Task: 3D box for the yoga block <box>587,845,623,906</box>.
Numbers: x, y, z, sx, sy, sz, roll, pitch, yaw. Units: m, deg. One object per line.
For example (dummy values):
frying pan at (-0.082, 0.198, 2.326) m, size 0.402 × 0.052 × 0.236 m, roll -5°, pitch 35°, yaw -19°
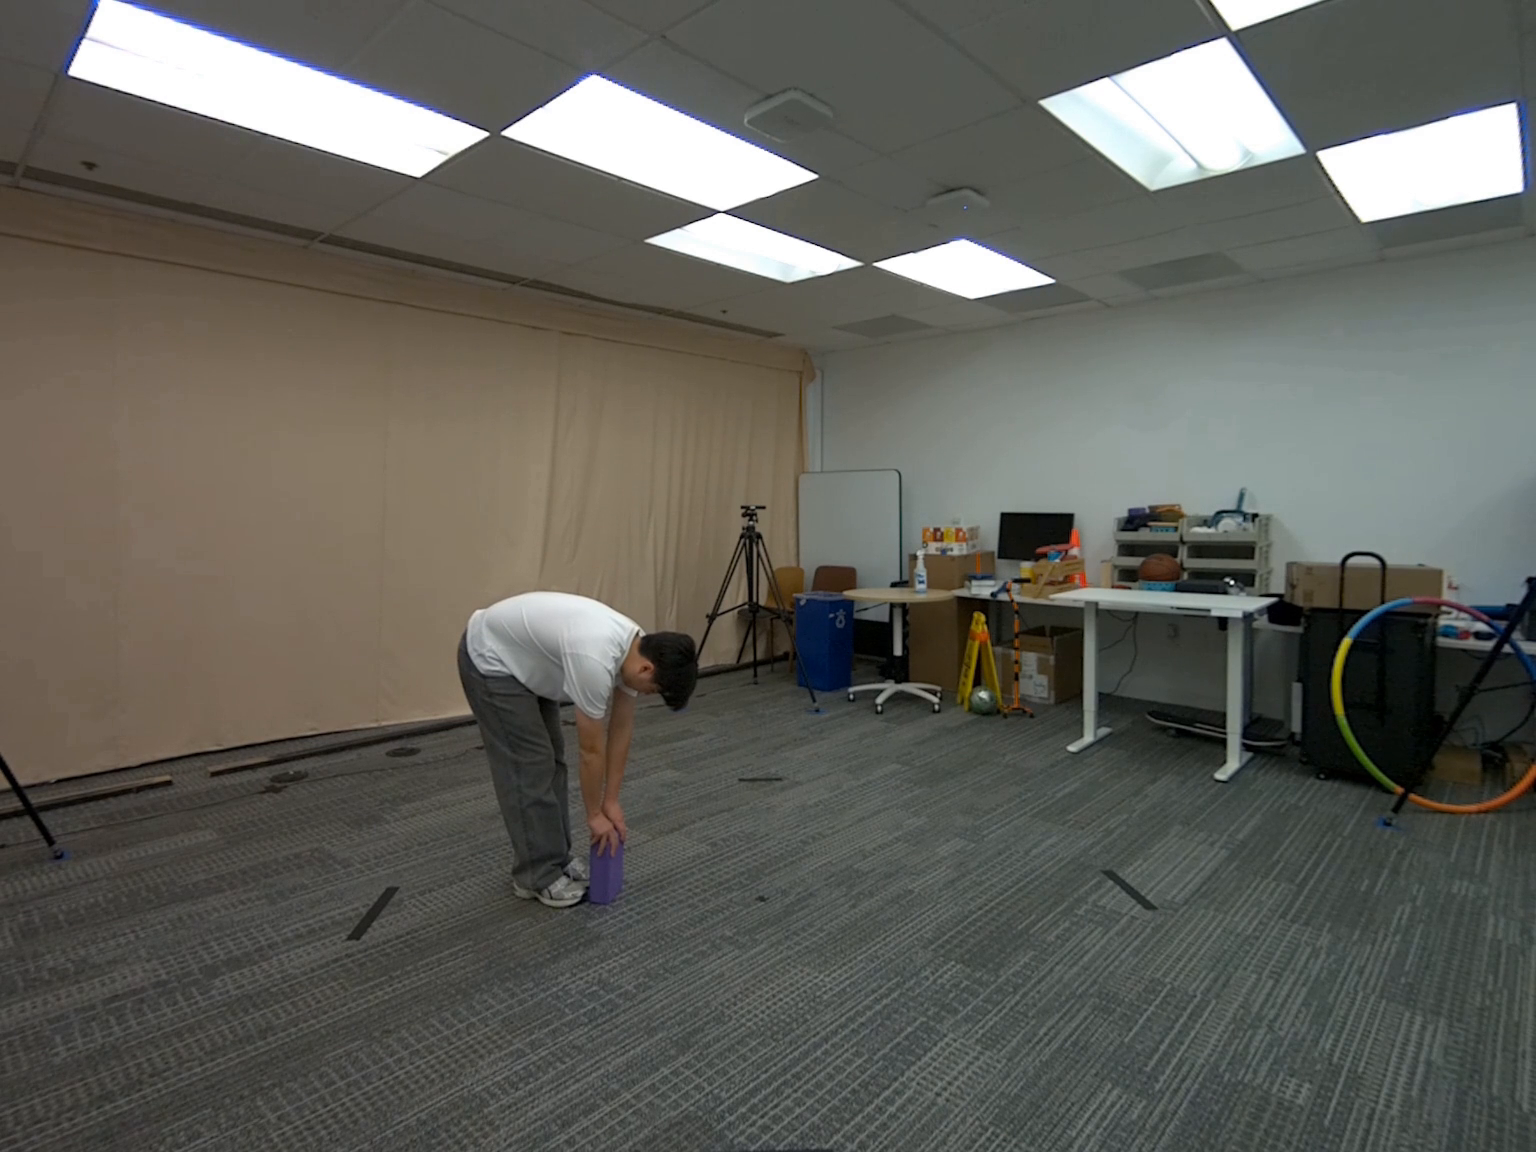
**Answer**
yoga block at (-0.571, 1.045, 3.000) m, size 0.077 × 0.229 × 0.148 m, roll 1°, pitch 4°, yaw 6°
